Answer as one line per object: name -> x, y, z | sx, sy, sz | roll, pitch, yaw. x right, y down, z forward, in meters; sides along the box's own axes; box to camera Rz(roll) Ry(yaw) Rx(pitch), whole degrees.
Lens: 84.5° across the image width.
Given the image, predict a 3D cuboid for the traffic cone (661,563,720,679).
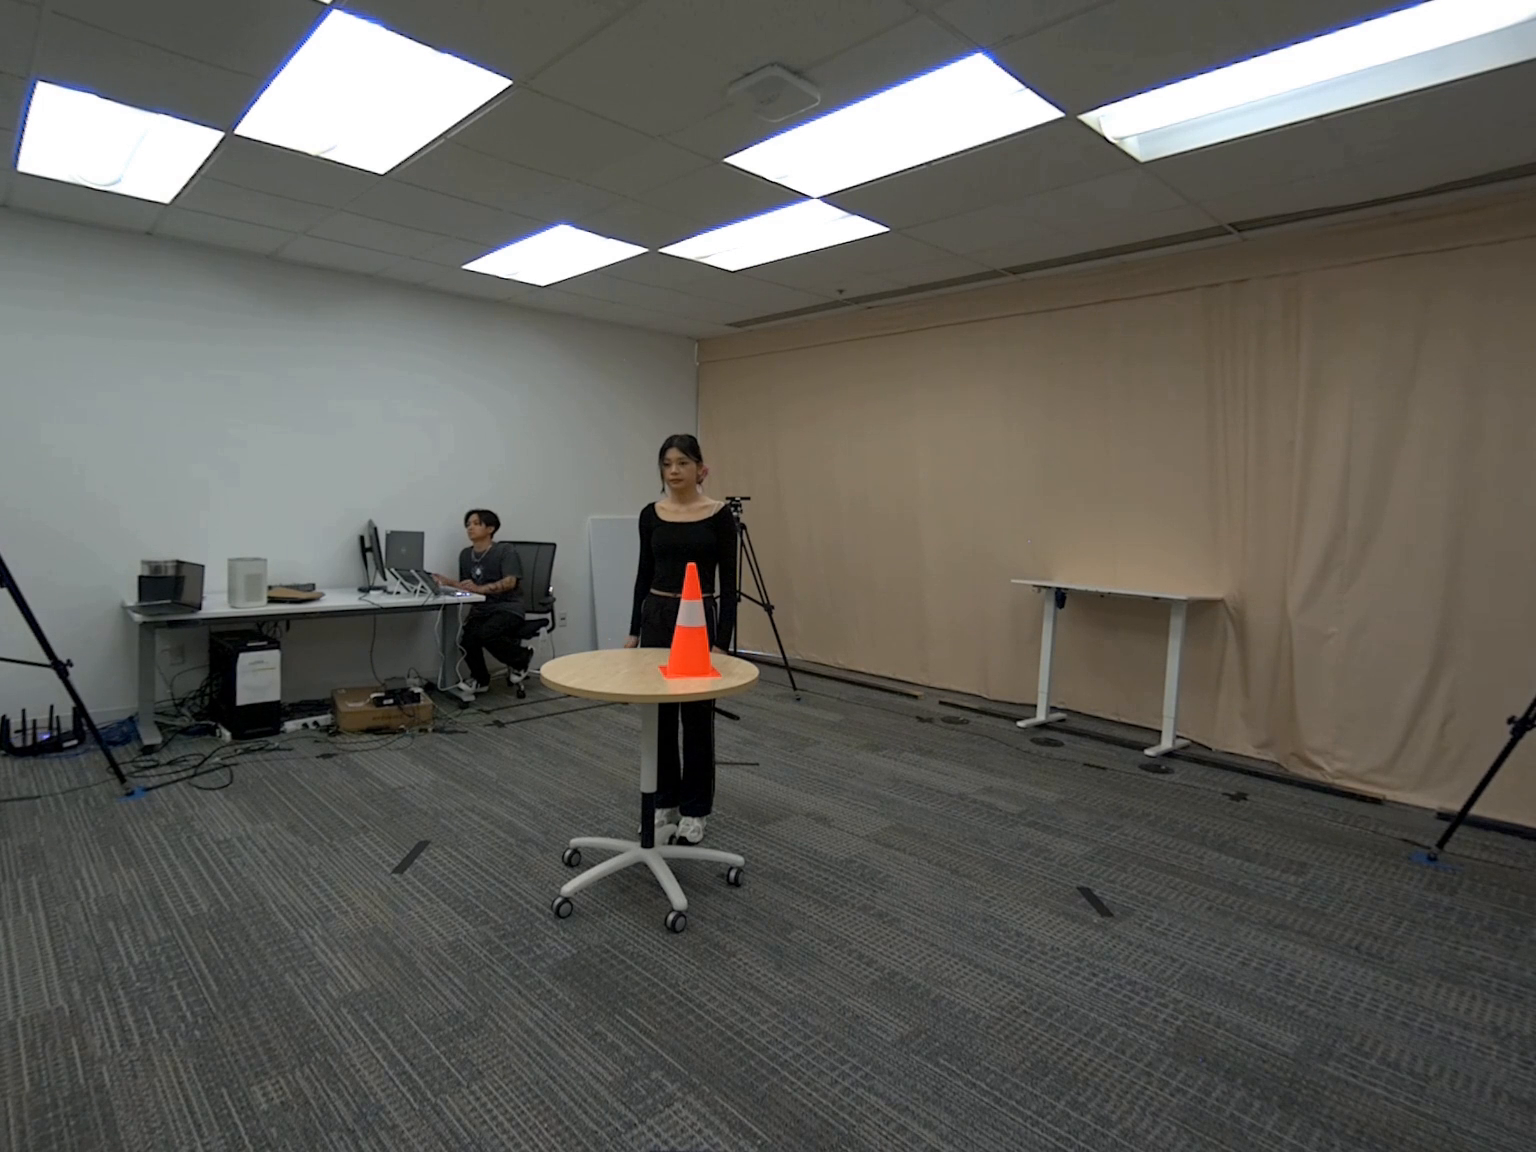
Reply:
traffic cone -> -0.288, 0.150, 2.928 | 0.203, 0.382, 0.206 | 0, 5, -11
